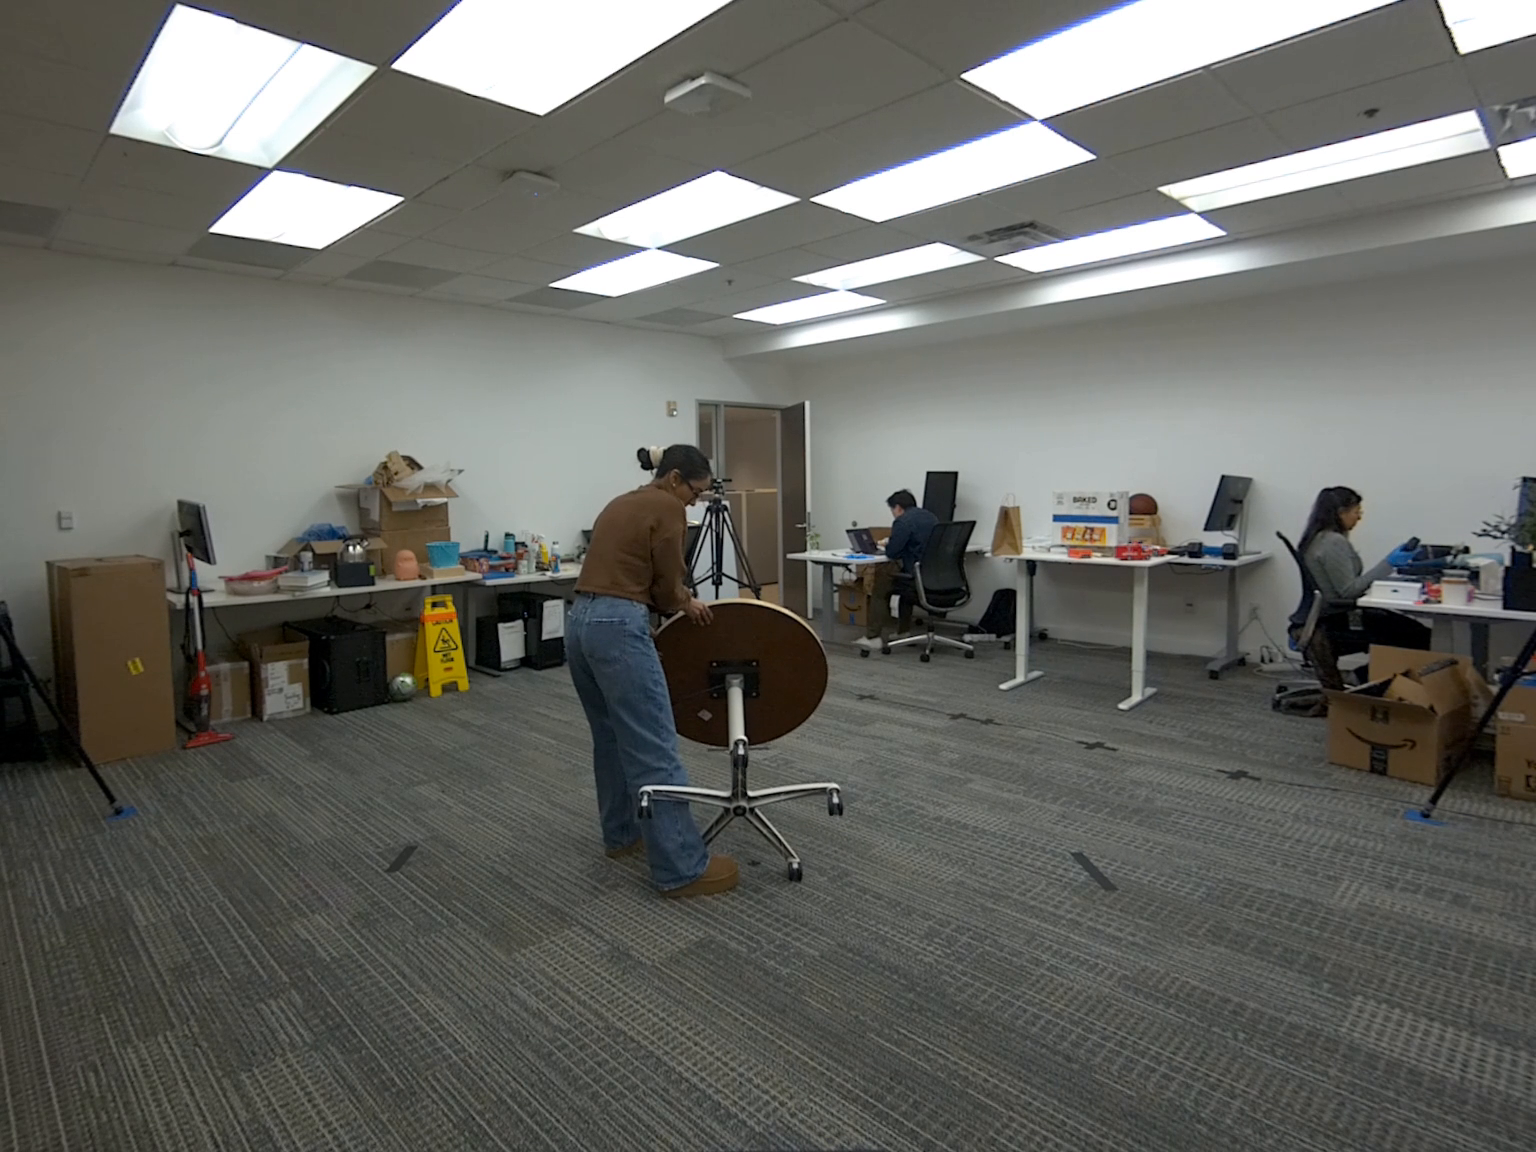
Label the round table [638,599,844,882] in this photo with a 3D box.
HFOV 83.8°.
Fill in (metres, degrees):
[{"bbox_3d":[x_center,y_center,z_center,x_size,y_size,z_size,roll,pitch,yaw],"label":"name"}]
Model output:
[{"bbox_3d":[-0.114,0.626,3.155,0.763,0.745,0.815,-1,33,-2],"label":"round table"}]
